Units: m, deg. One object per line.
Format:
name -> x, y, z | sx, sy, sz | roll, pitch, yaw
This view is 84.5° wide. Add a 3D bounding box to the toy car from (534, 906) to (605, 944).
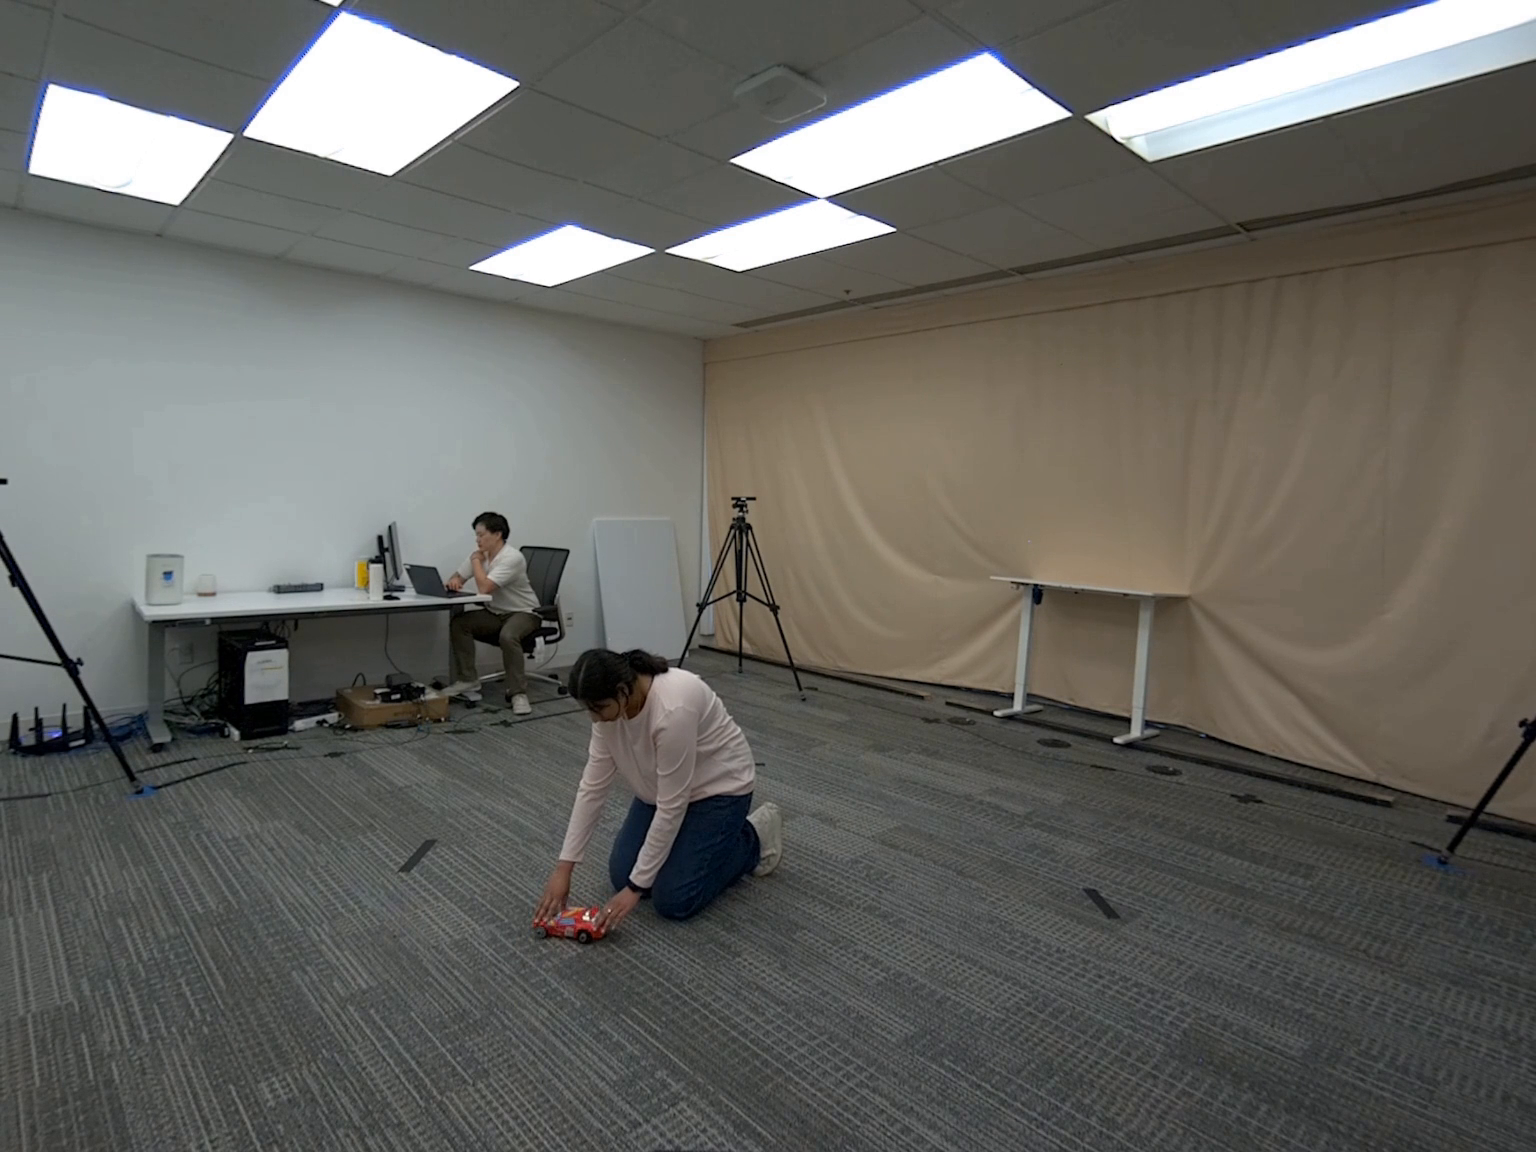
toy car -> -0.612, 1.105, 2.666 | 0.256, 0.083, 0.129 | -11, 1, 10
